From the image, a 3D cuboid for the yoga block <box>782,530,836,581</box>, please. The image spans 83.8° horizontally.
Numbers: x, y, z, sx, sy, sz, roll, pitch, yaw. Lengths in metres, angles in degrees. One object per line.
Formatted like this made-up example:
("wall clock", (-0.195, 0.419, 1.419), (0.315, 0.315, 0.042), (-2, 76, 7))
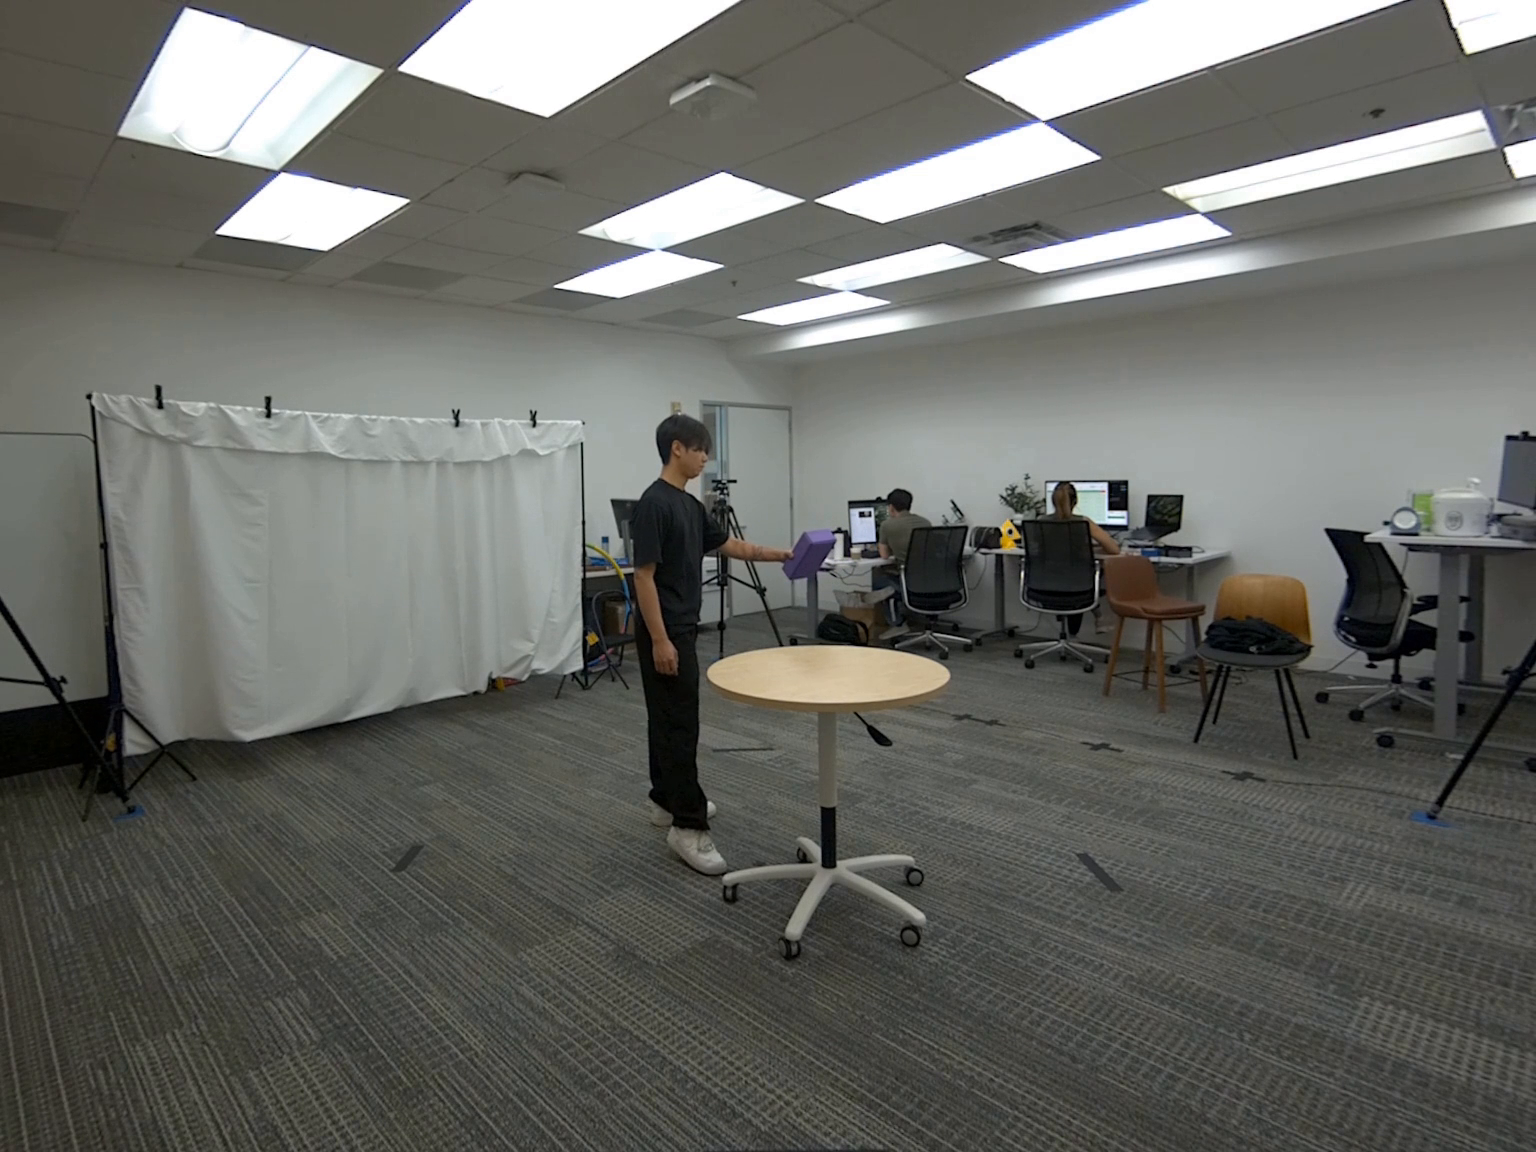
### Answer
("yoga block", (0.171, -0.089, 3.569), (0.145, 0.227, 0.079), (-7, 51, -39))
